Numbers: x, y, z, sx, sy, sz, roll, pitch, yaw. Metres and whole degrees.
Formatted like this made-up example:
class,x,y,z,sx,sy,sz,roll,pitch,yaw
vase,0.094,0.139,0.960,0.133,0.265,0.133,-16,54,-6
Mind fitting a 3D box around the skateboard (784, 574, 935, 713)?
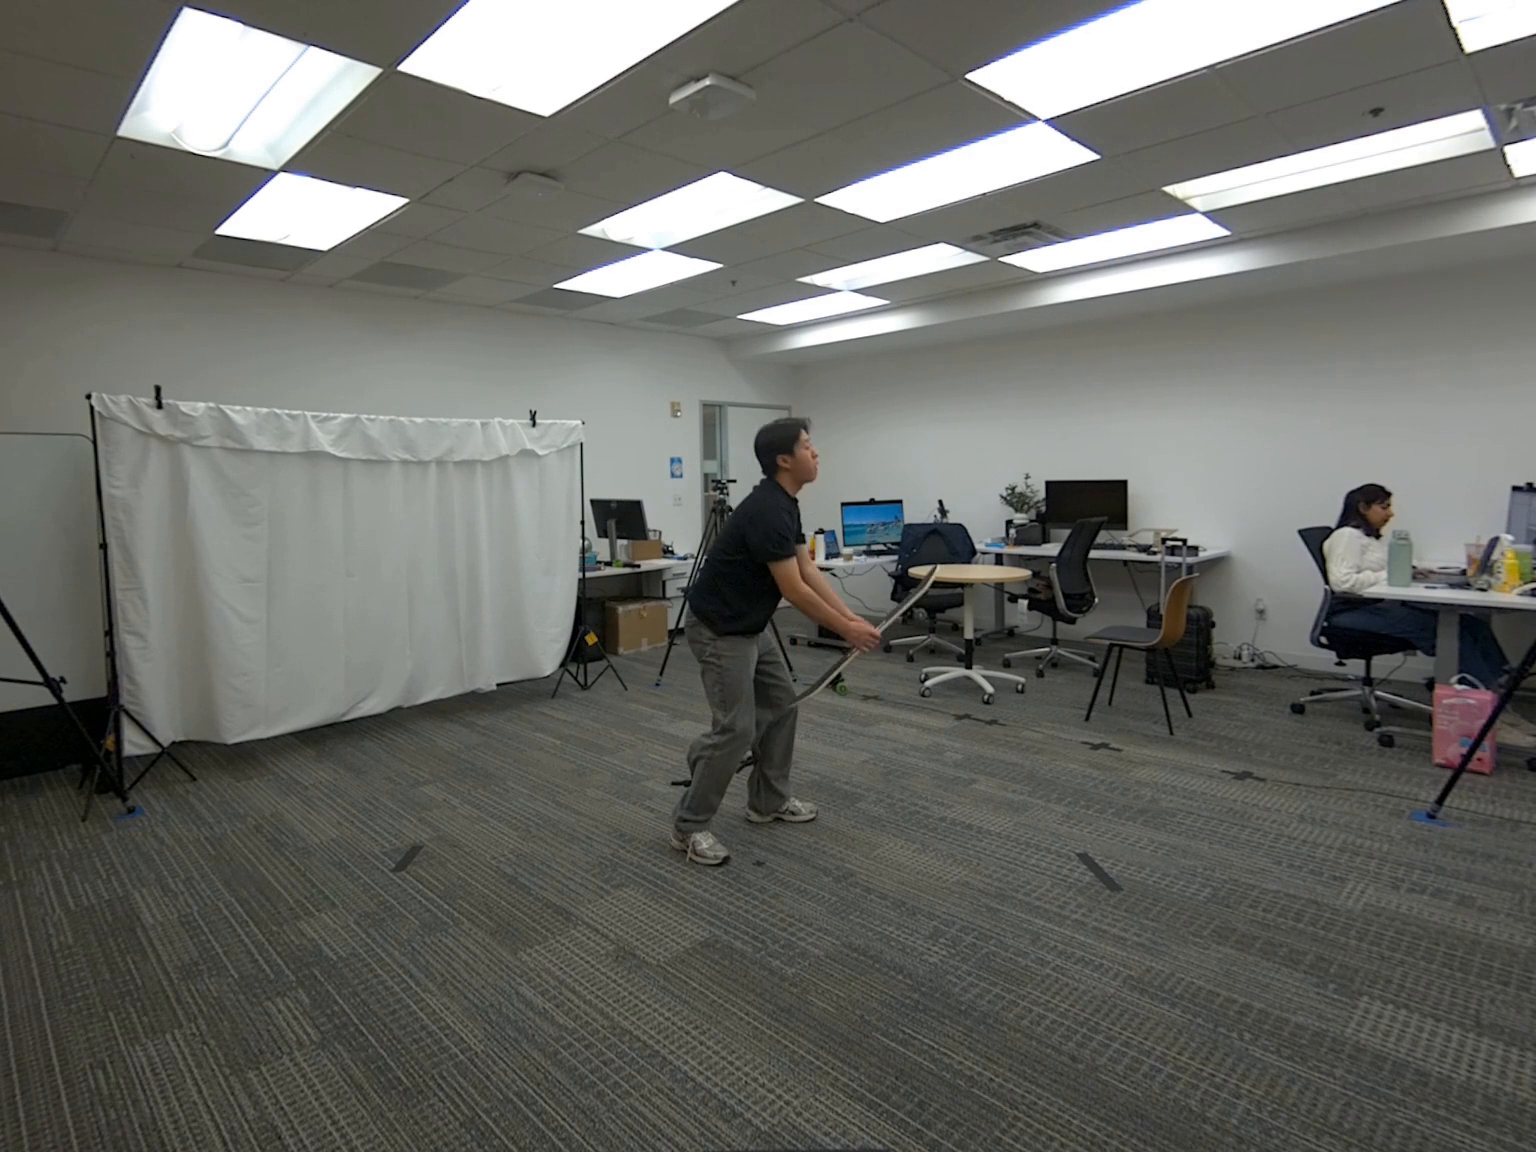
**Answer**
class,x,y,z,sx,sy,sz,roll,pitch,yaw
skateboard,0.398,0.272,3.241,0.785,0.111,0.192,-43,-2,-1
